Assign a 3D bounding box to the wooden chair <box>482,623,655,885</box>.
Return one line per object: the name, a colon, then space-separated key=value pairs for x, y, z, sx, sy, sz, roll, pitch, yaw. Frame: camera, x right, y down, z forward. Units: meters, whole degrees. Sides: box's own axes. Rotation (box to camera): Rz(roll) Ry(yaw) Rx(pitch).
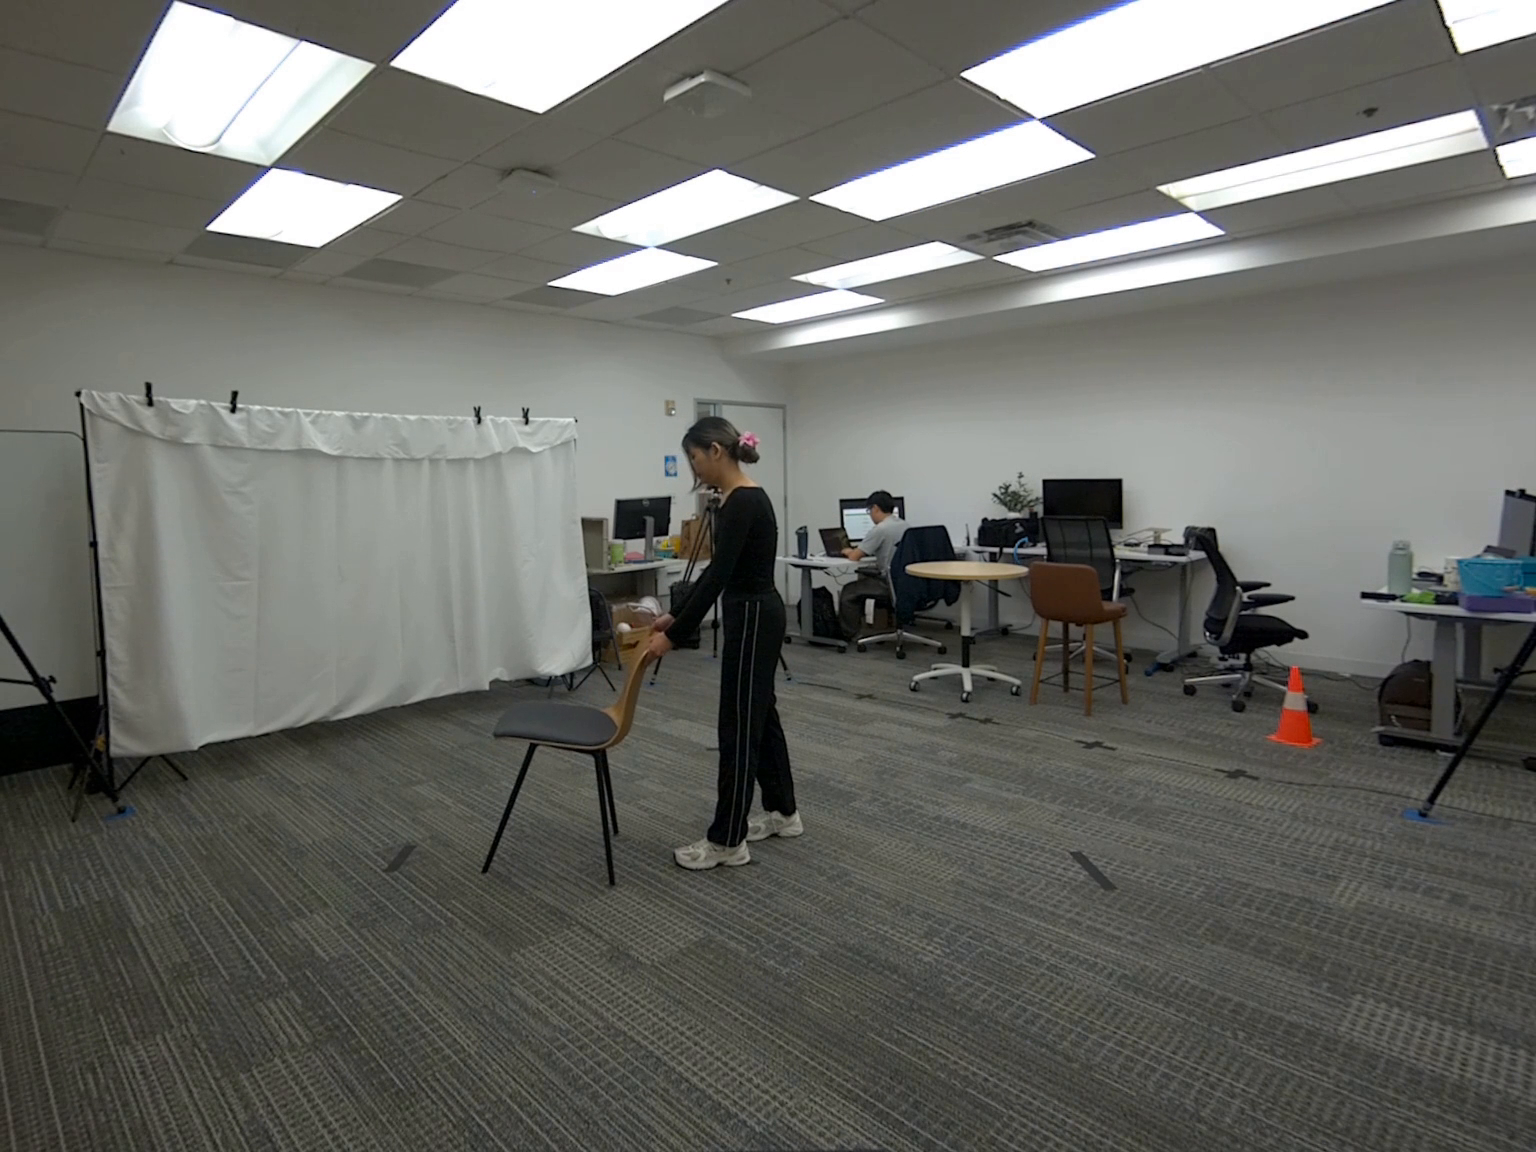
wooden chair: x=-0.728 y=0.594 z=3.112 sx=0.518 sy=0.876 sz=0.483 roll=12 pitch=3 yaw=-9
